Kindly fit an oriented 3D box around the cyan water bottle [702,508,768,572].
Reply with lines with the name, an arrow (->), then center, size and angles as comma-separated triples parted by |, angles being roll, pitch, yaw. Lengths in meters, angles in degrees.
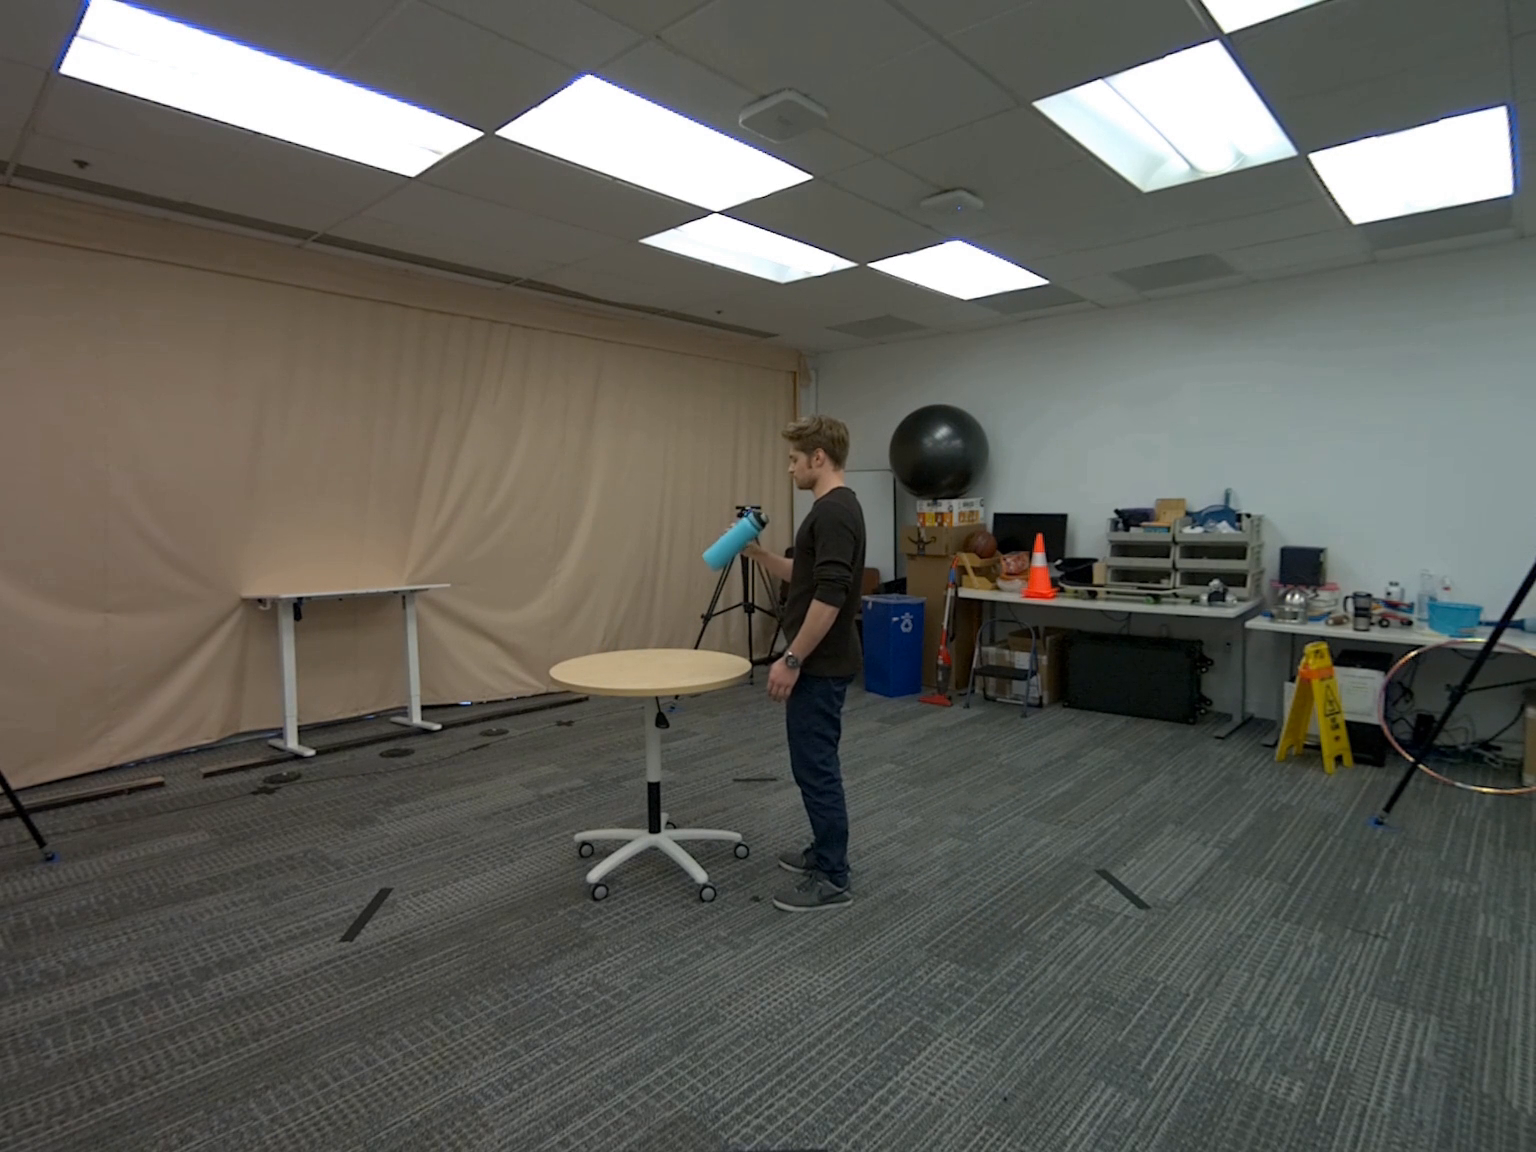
cyan water bottle -> -0.113, -0.137, 3.156 | 0.285, 0.093, 0.091 | -42, -9, 16
